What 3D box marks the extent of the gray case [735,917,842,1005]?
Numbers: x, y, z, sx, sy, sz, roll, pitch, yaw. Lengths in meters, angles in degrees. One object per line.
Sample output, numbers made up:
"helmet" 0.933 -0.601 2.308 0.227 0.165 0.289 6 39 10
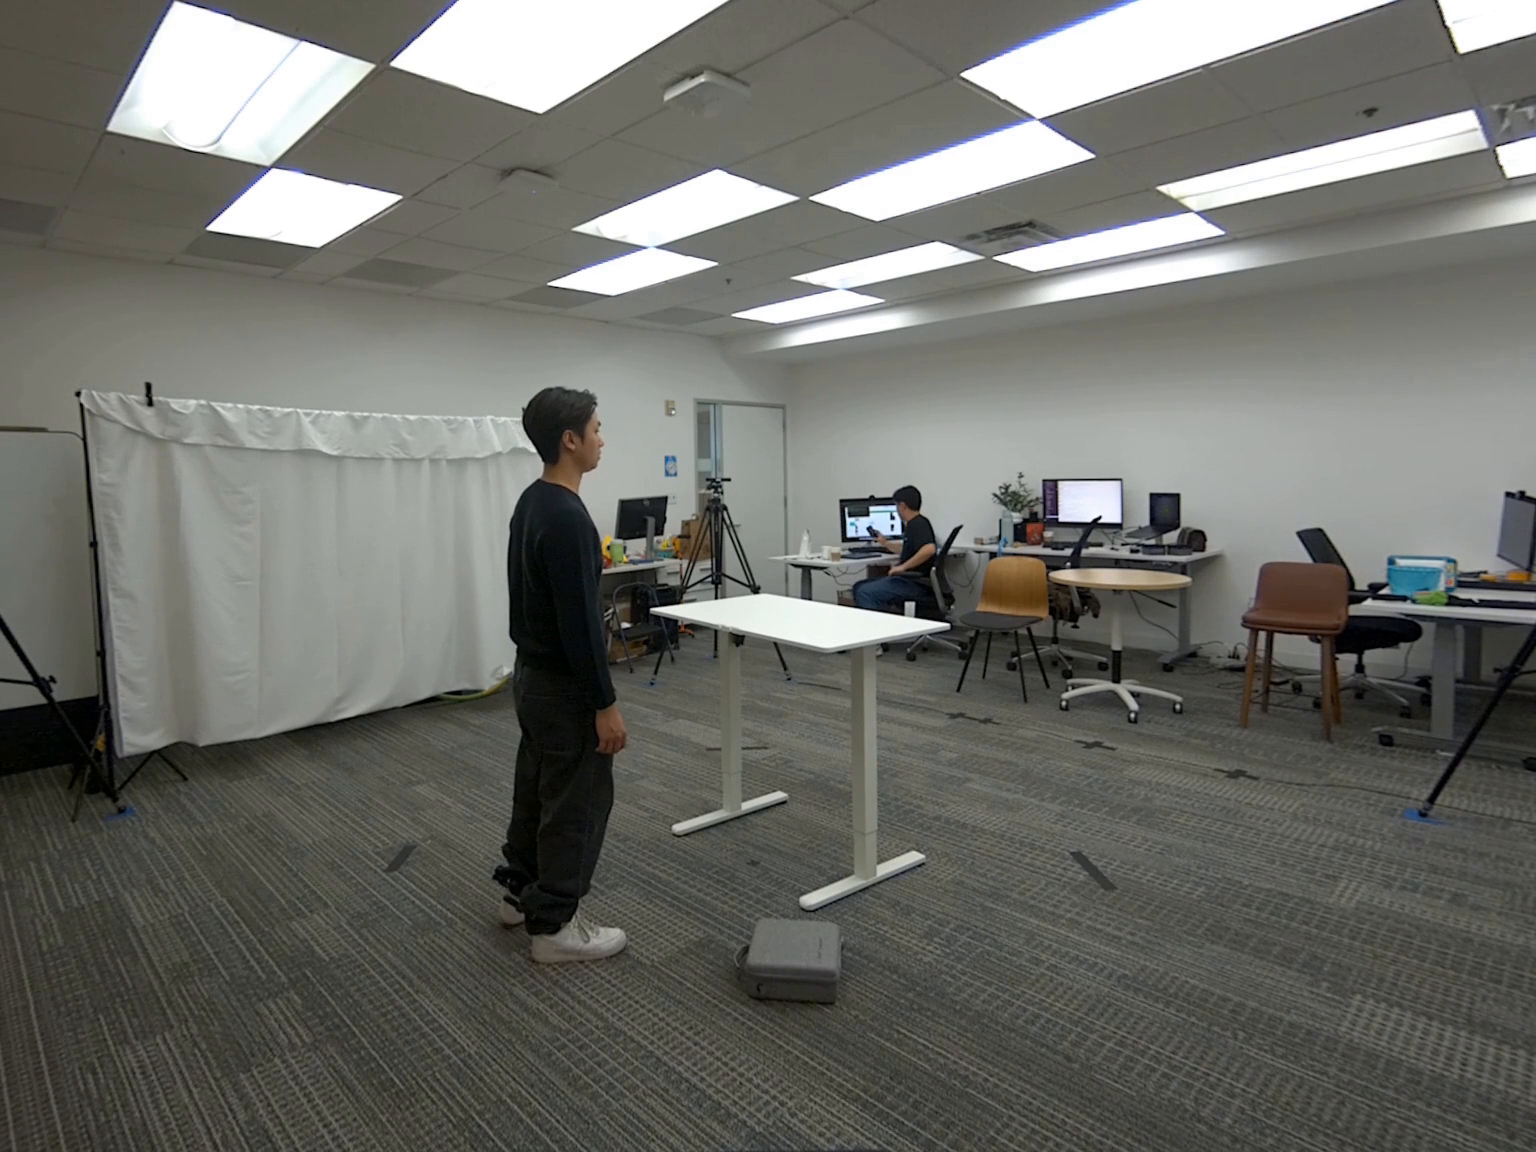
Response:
"gray case" 0.072 1.060 2.391 0.263 0.104 0.256 0 7 9
